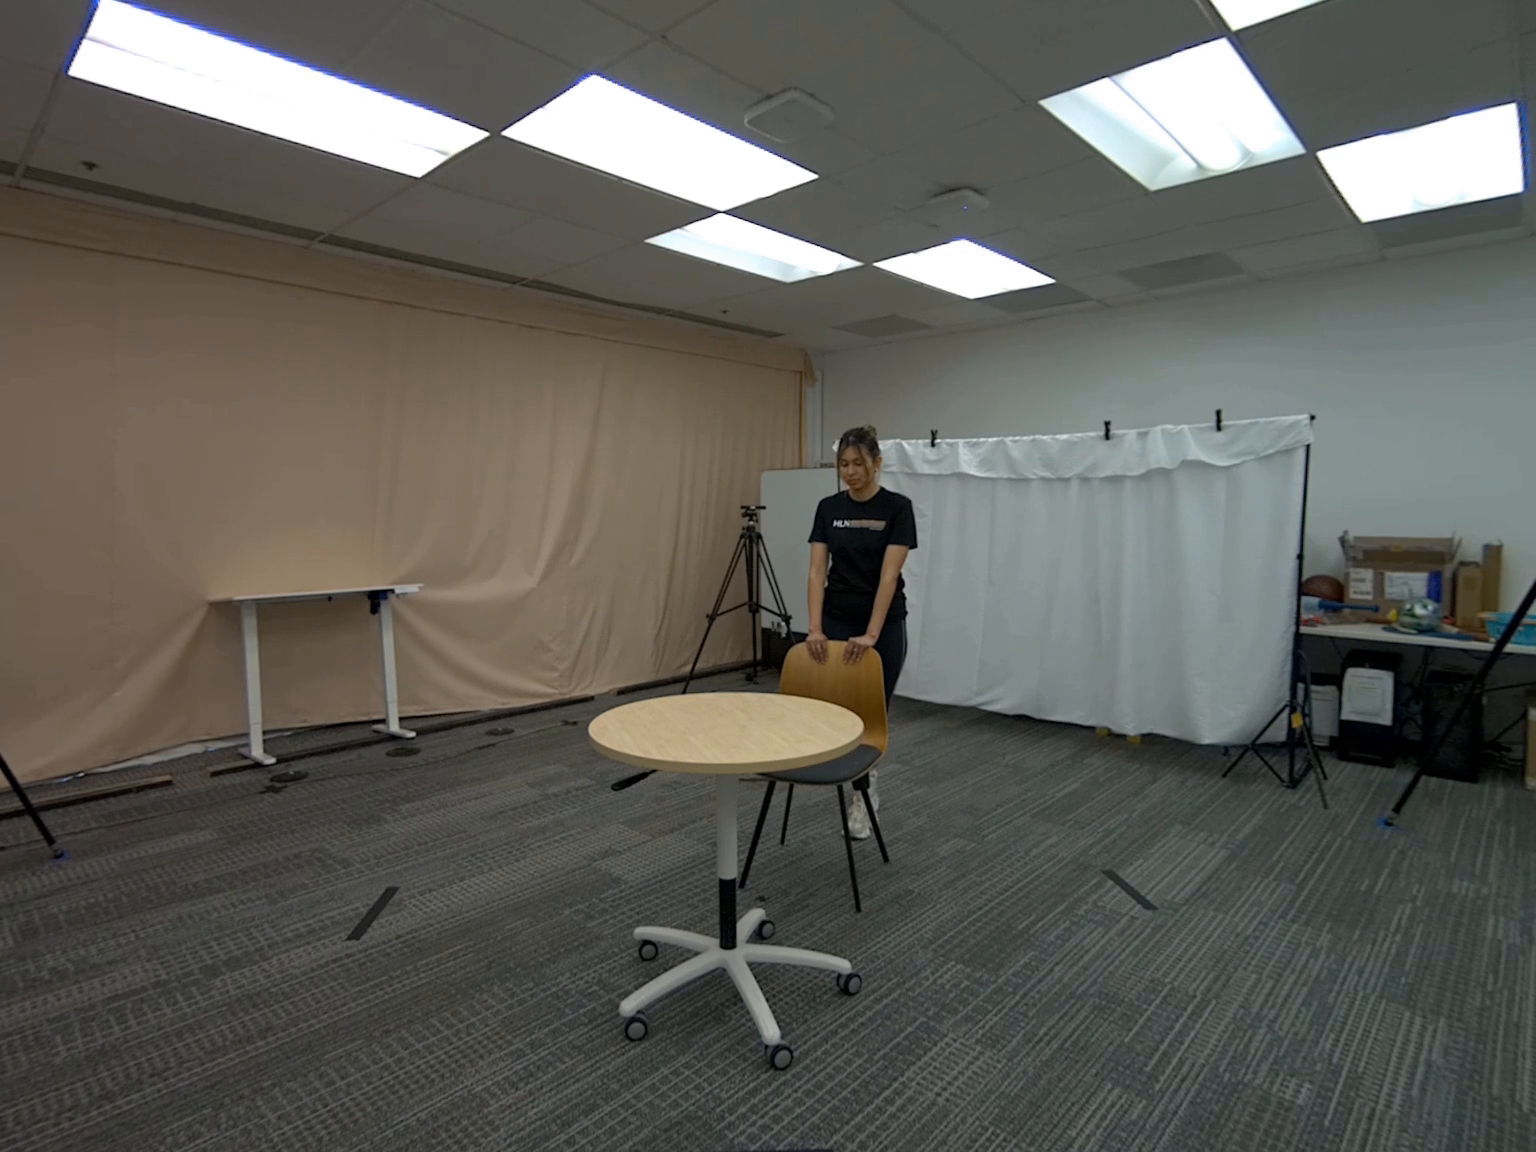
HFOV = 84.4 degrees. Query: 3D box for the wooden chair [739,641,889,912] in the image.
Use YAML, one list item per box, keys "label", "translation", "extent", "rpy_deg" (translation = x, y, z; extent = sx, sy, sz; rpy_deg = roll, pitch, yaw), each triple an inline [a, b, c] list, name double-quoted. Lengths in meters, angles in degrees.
- label: "wooden chair"
  translation: [0.187, 0.700, 3.138]
  extent: [0.490, 0.877, 0.510]
  rpy_deg: [2, 0, 23]
